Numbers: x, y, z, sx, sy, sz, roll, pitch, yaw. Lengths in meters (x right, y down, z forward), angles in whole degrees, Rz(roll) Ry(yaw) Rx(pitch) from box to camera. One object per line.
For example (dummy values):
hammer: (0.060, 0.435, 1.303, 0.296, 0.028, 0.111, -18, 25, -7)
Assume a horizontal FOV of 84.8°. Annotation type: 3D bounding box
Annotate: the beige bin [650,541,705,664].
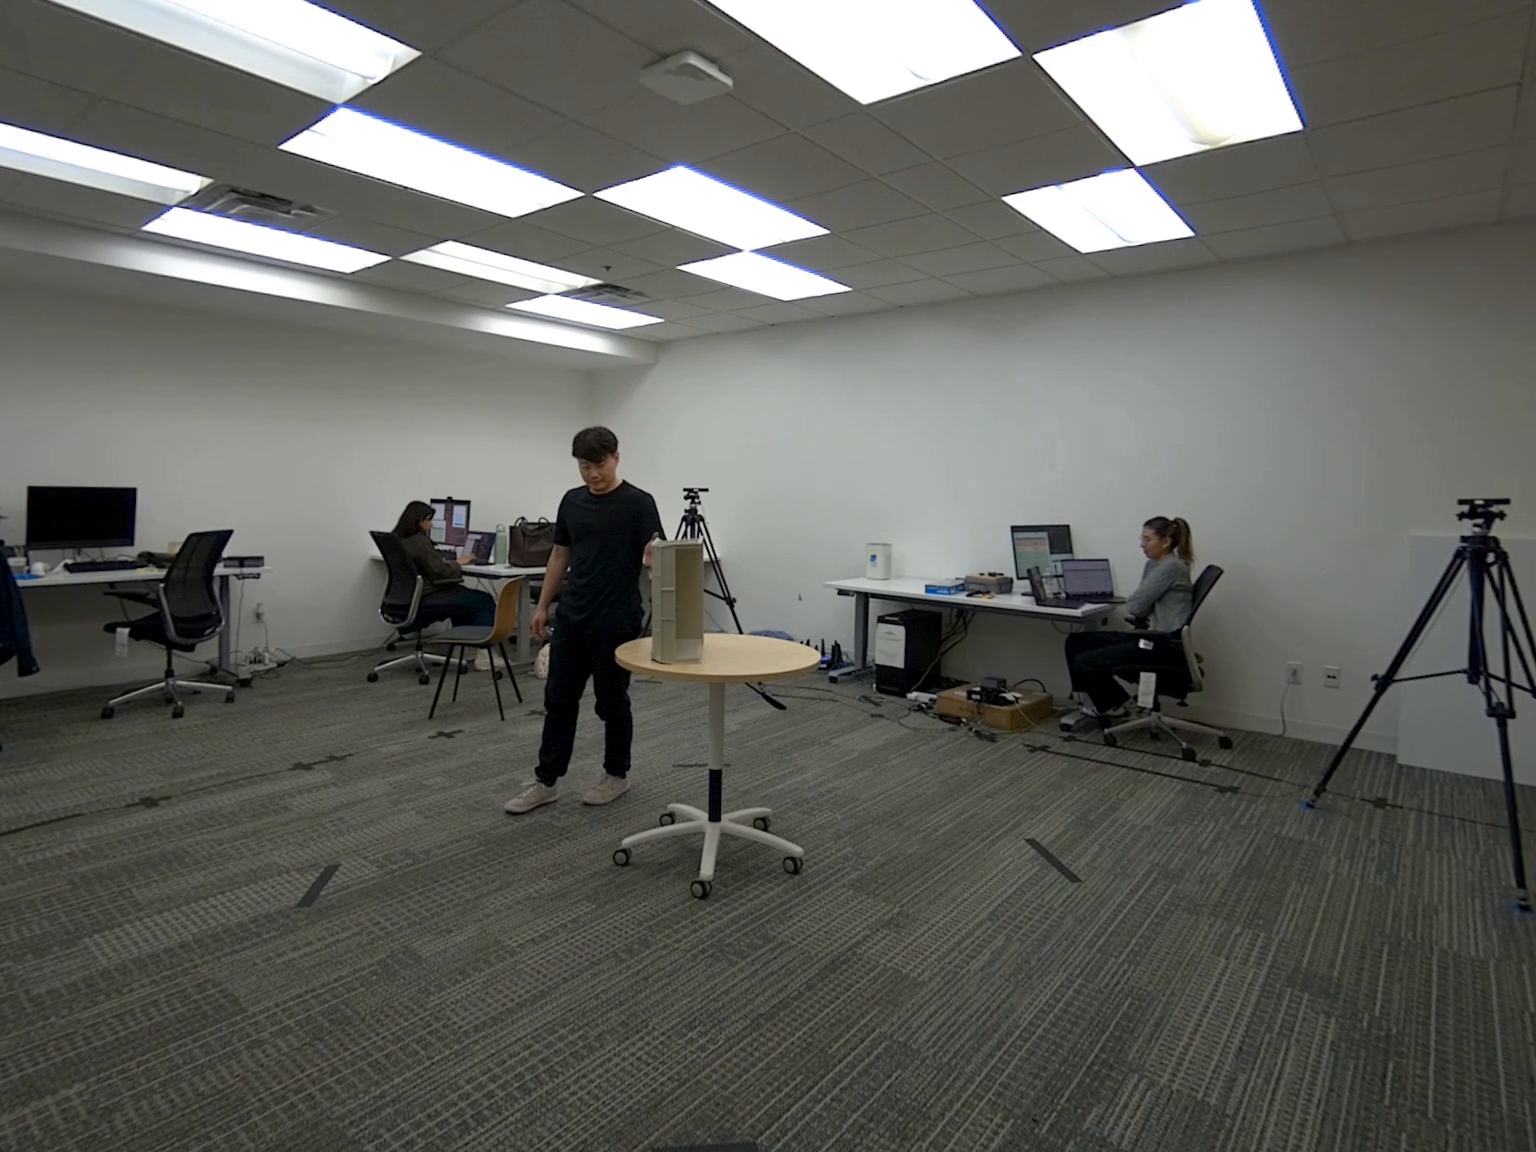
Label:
beige bin: (-0.339, 0.074, 3.120, 0.188, 0.420, 0.380, 0, 5, -4)
